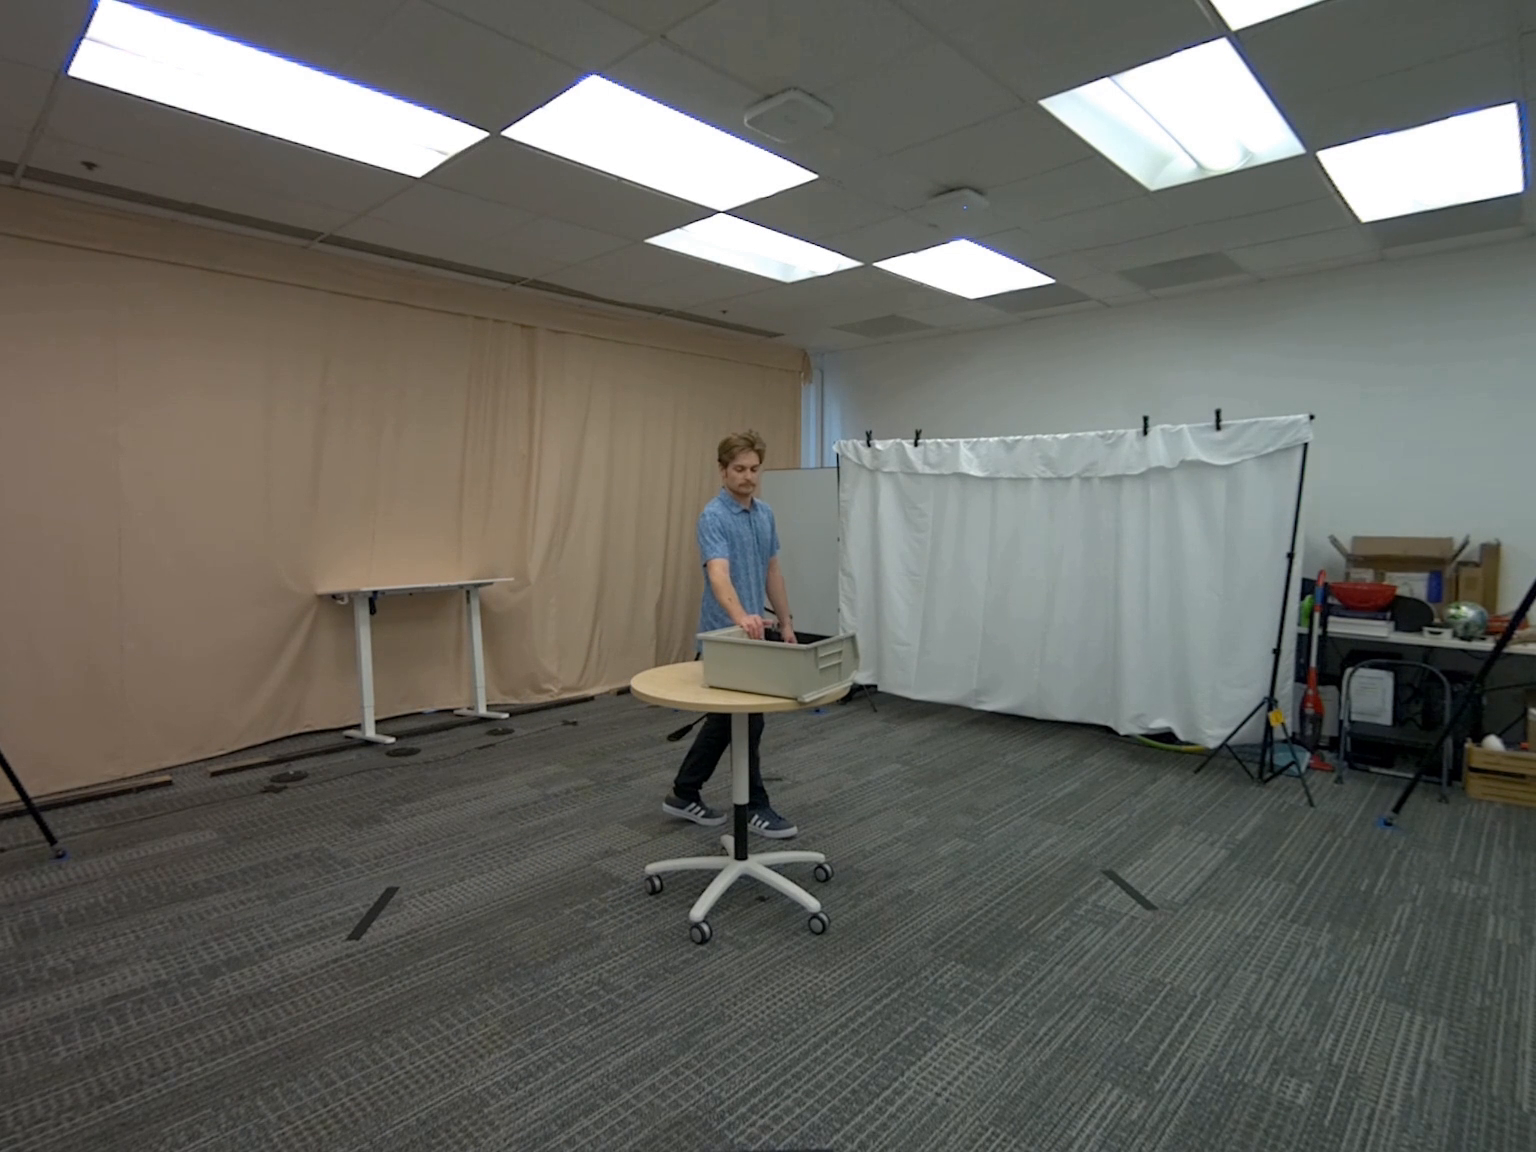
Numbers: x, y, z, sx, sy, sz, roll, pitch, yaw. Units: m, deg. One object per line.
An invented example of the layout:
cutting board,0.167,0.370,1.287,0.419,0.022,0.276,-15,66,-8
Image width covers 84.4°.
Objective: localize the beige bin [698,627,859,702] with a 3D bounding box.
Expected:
beige bin,0.045,0.281,2.852,0.436,0.188,0.367,4,8,34
